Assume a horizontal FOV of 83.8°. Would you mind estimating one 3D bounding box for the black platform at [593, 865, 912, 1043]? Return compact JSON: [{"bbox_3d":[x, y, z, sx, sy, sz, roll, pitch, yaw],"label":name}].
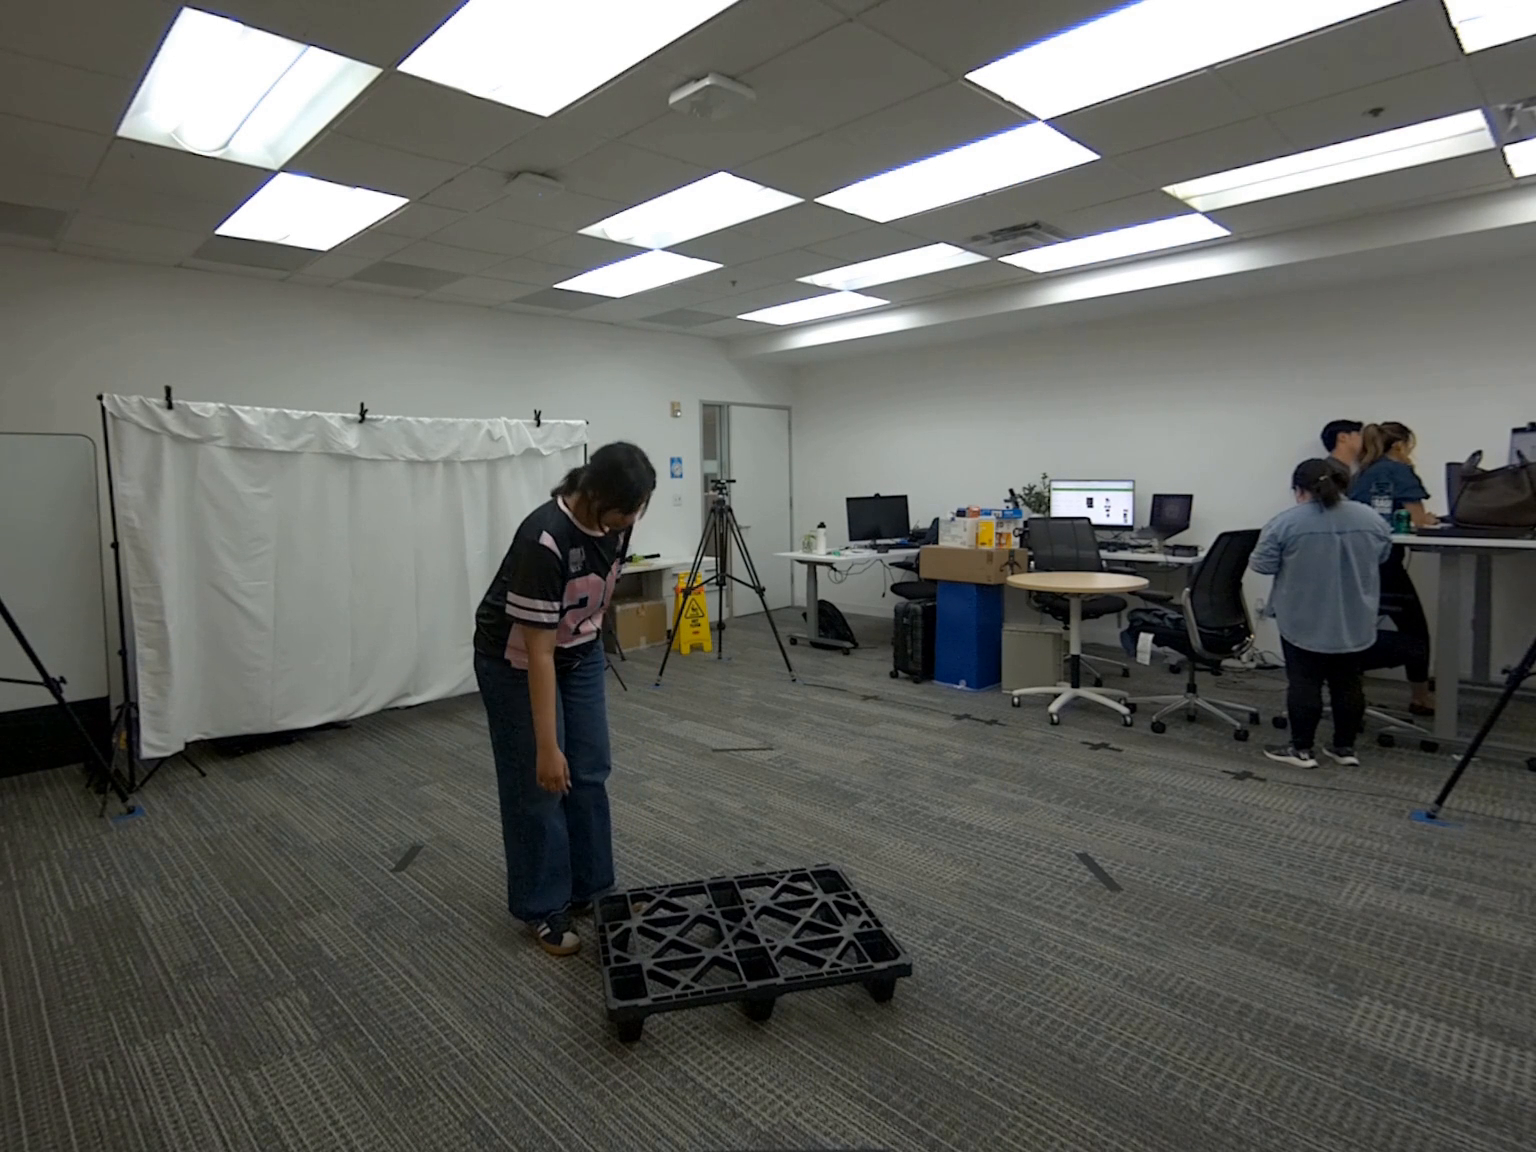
[{"bbox_3d":[-0.083,1.055,2.439,0.796,0.143,0.615,-3,6,-13],"label":"black platform"}]
